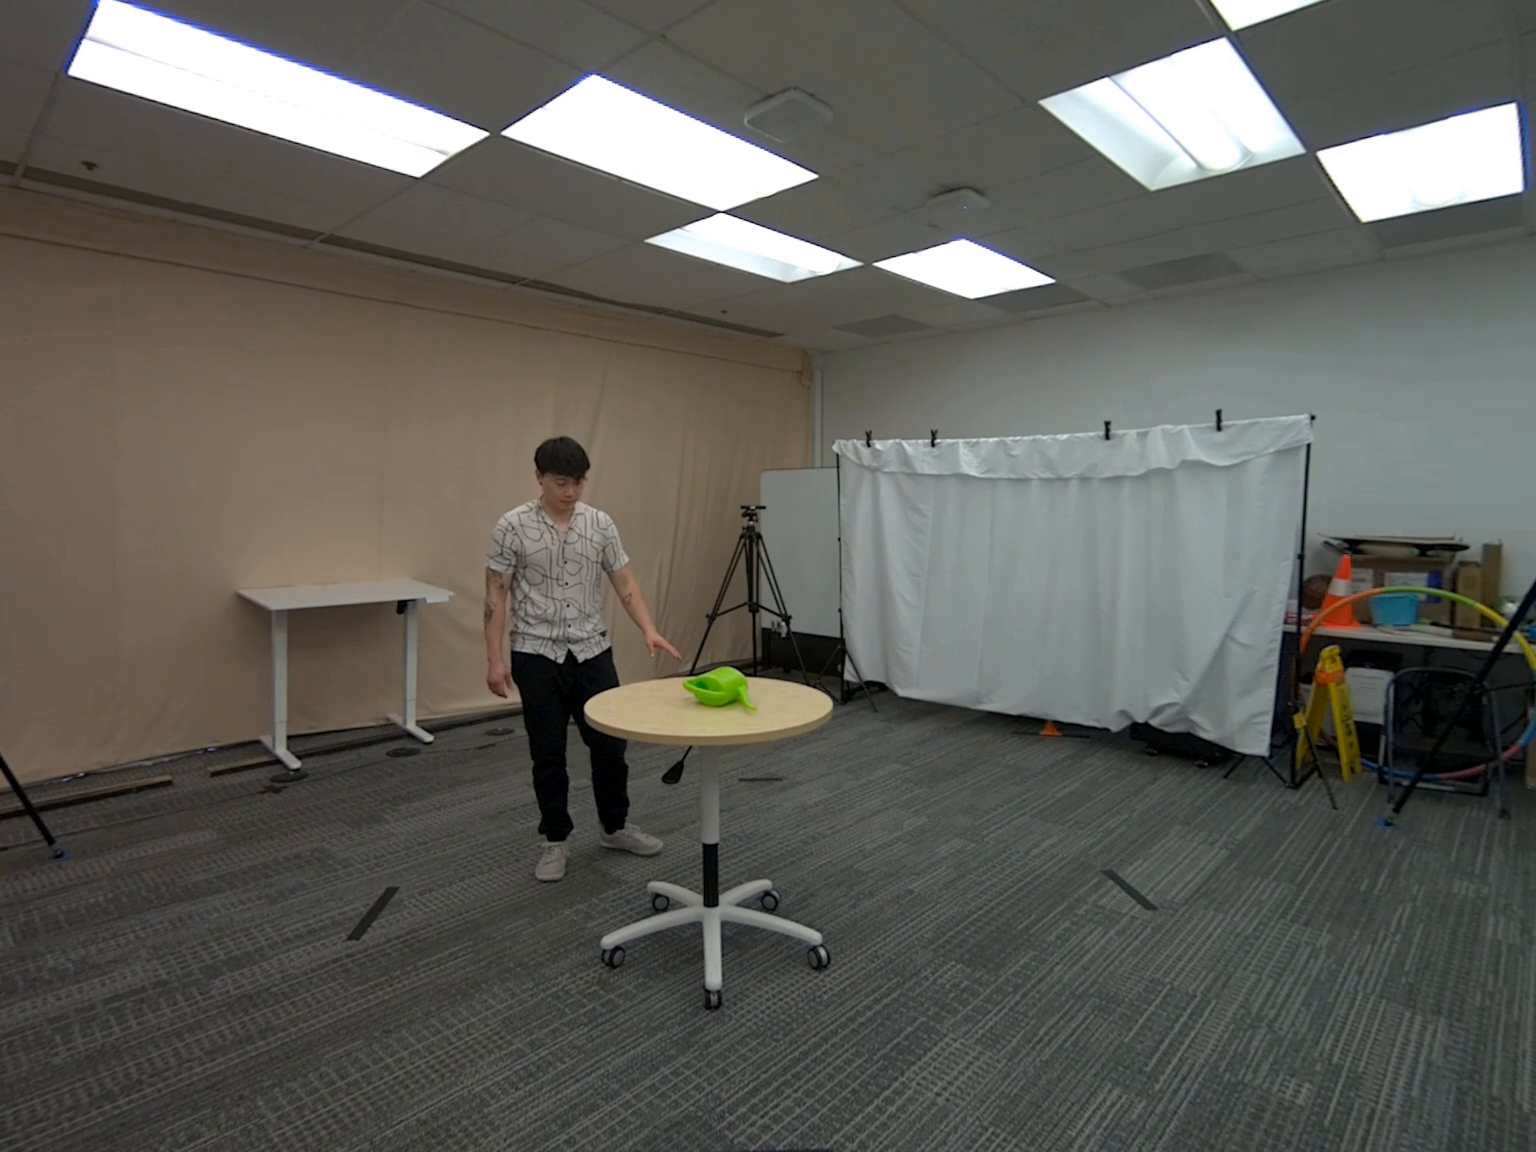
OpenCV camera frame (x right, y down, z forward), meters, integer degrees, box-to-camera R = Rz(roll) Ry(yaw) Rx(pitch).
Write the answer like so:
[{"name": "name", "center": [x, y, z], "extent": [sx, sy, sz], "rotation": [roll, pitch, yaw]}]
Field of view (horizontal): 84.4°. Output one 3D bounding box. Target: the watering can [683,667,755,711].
[{"name": "watering can", "center": [-0.122, 0.362, 2.570], "extent": [0.287, 0.097, 0.172], "rotation": [25, 17, 27]}]
